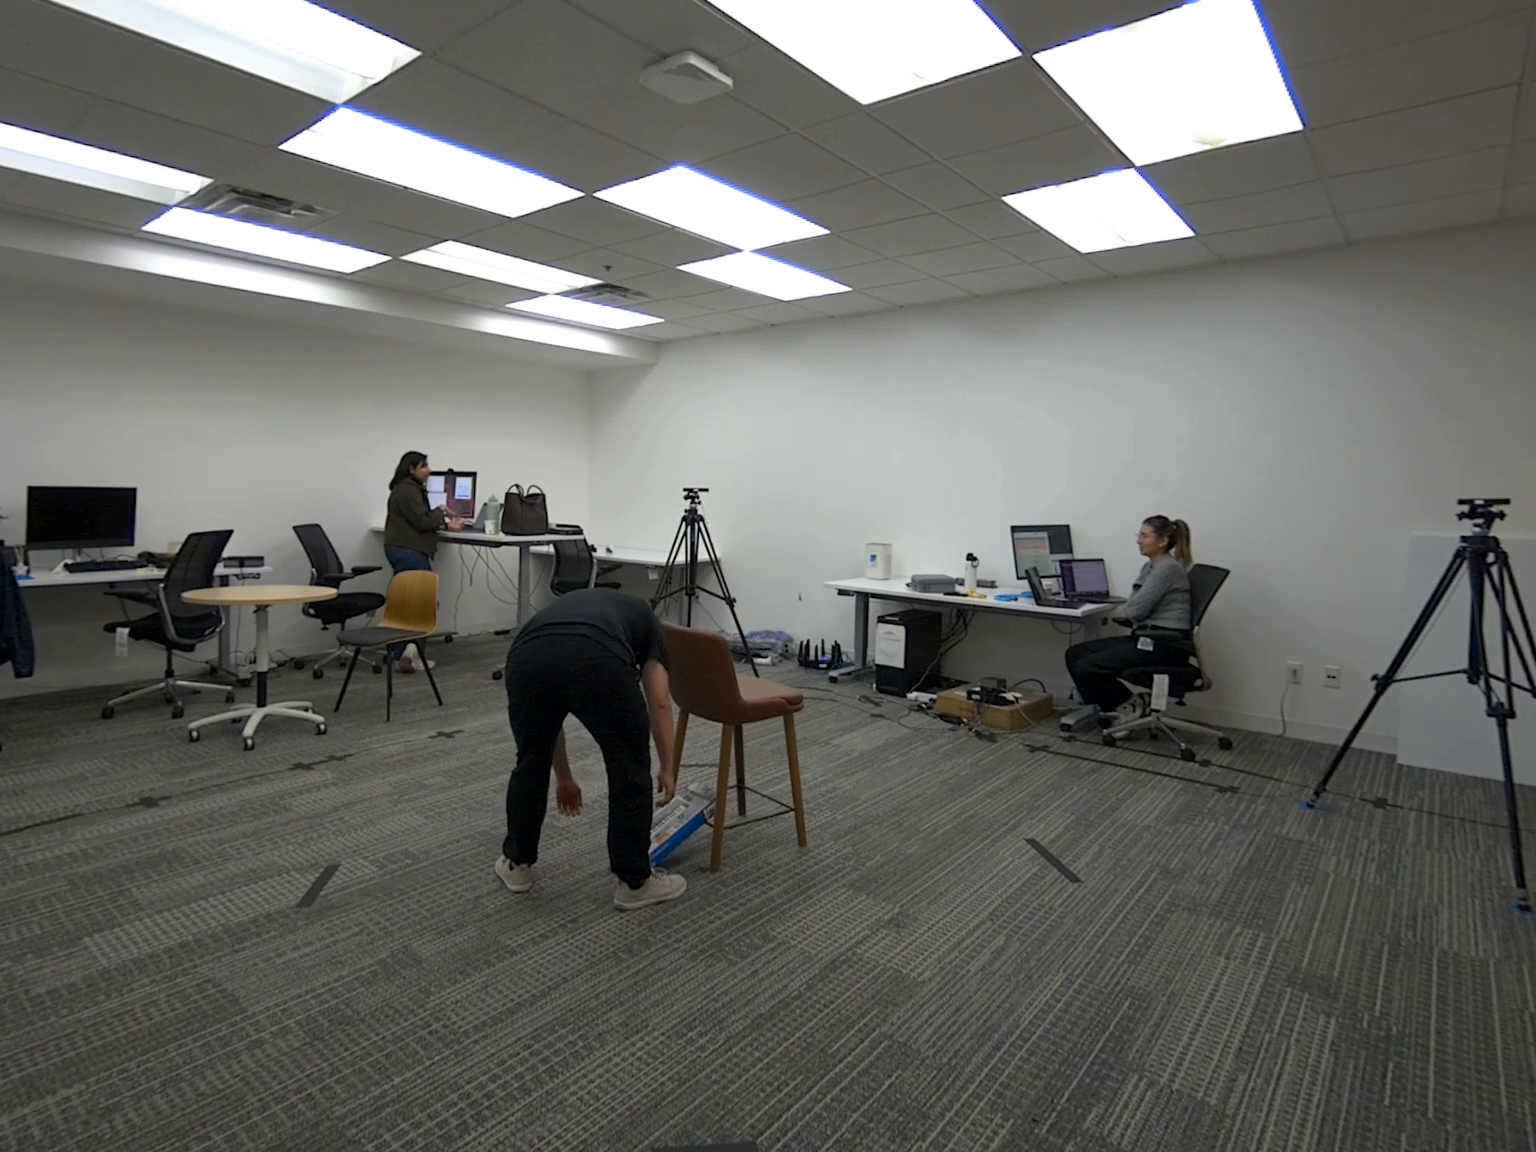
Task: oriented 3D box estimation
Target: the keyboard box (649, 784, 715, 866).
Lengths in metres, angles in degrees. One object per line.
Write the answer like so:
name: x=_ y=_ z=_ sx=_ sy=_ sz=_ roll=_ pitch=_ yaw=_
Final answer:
keyboard box: x=-0.380 y=0.942 z=3.177 sx=0.432 sy=0.058 sz=0.182 roll=-34 pitch=25 yaw=-32
